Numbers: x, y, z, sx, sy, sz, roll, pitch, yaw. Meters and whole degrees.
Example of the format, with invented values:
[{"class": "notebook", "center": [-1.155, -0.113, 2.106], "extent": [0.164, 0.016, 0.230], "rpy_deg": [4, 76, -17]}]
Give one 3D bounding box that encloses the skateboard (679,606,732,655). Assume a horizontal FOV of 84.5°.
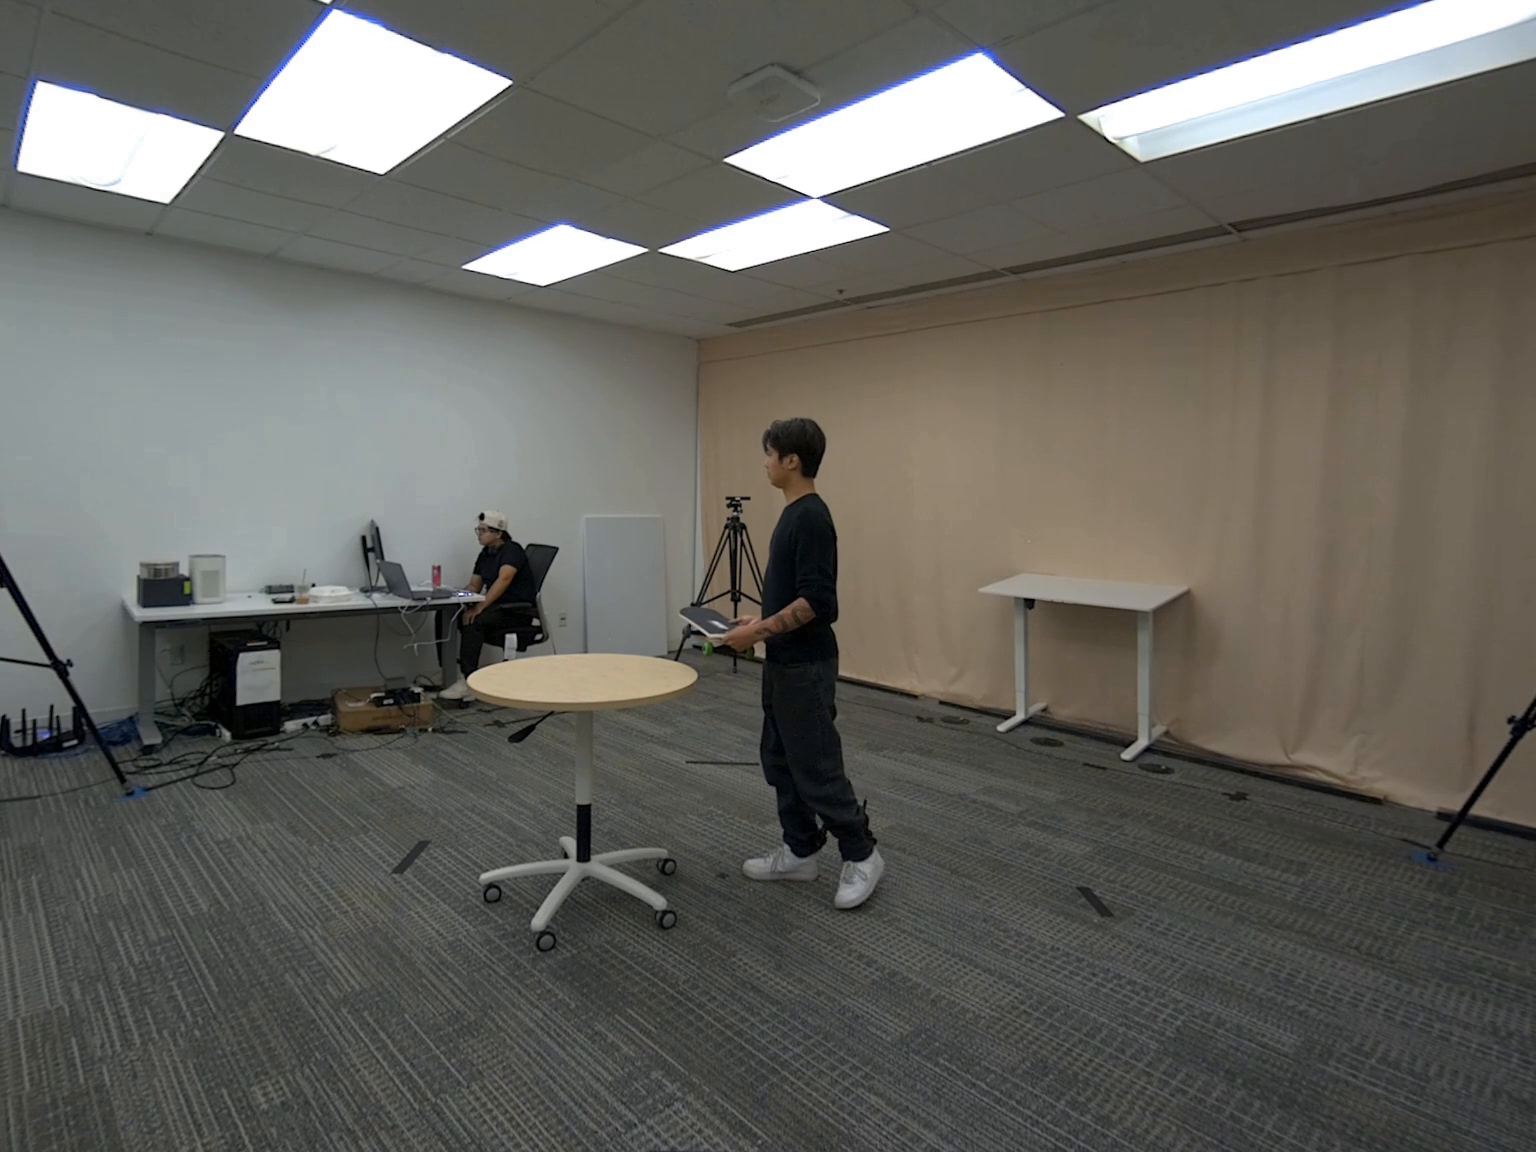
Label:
[{"class": "skateboard", "center": [-0.197, 0.223, 3.203], "extent": [0.191, 0.110, 0.796], "rpy_deg": [5, 4, -14]}]
